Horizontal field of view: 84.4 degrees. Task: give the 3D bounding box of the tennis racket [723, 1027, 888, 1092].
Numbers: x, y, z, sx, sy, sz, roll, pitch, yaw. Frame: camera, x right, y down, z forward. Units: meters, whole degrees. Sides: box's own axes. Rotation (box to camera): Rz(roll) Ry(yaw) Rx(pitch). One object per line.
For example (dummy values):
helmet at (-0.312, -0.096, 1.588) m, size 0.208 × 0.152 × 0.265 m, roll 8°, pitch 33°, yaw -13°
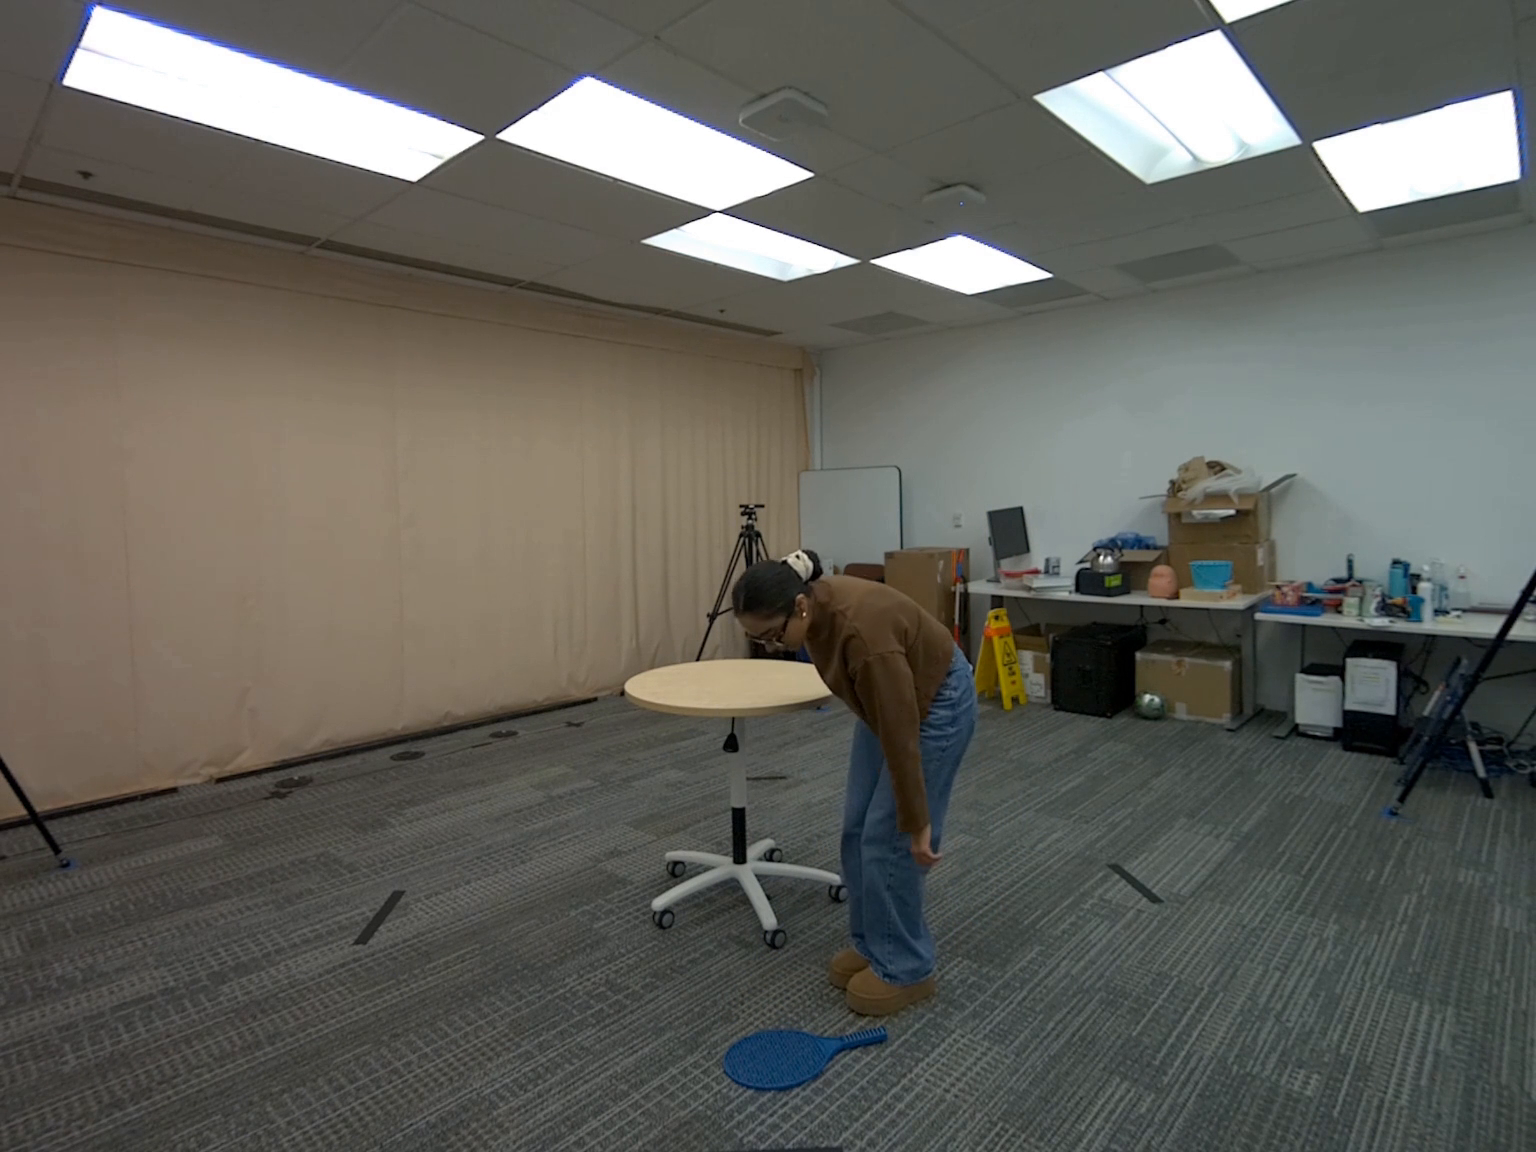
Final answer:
tennis racket at (0.097, 1.192, 2.134) m, size 0.425 × 0.031 × 0.218 m, roll -4°, pitch 6°, yaw -18°
